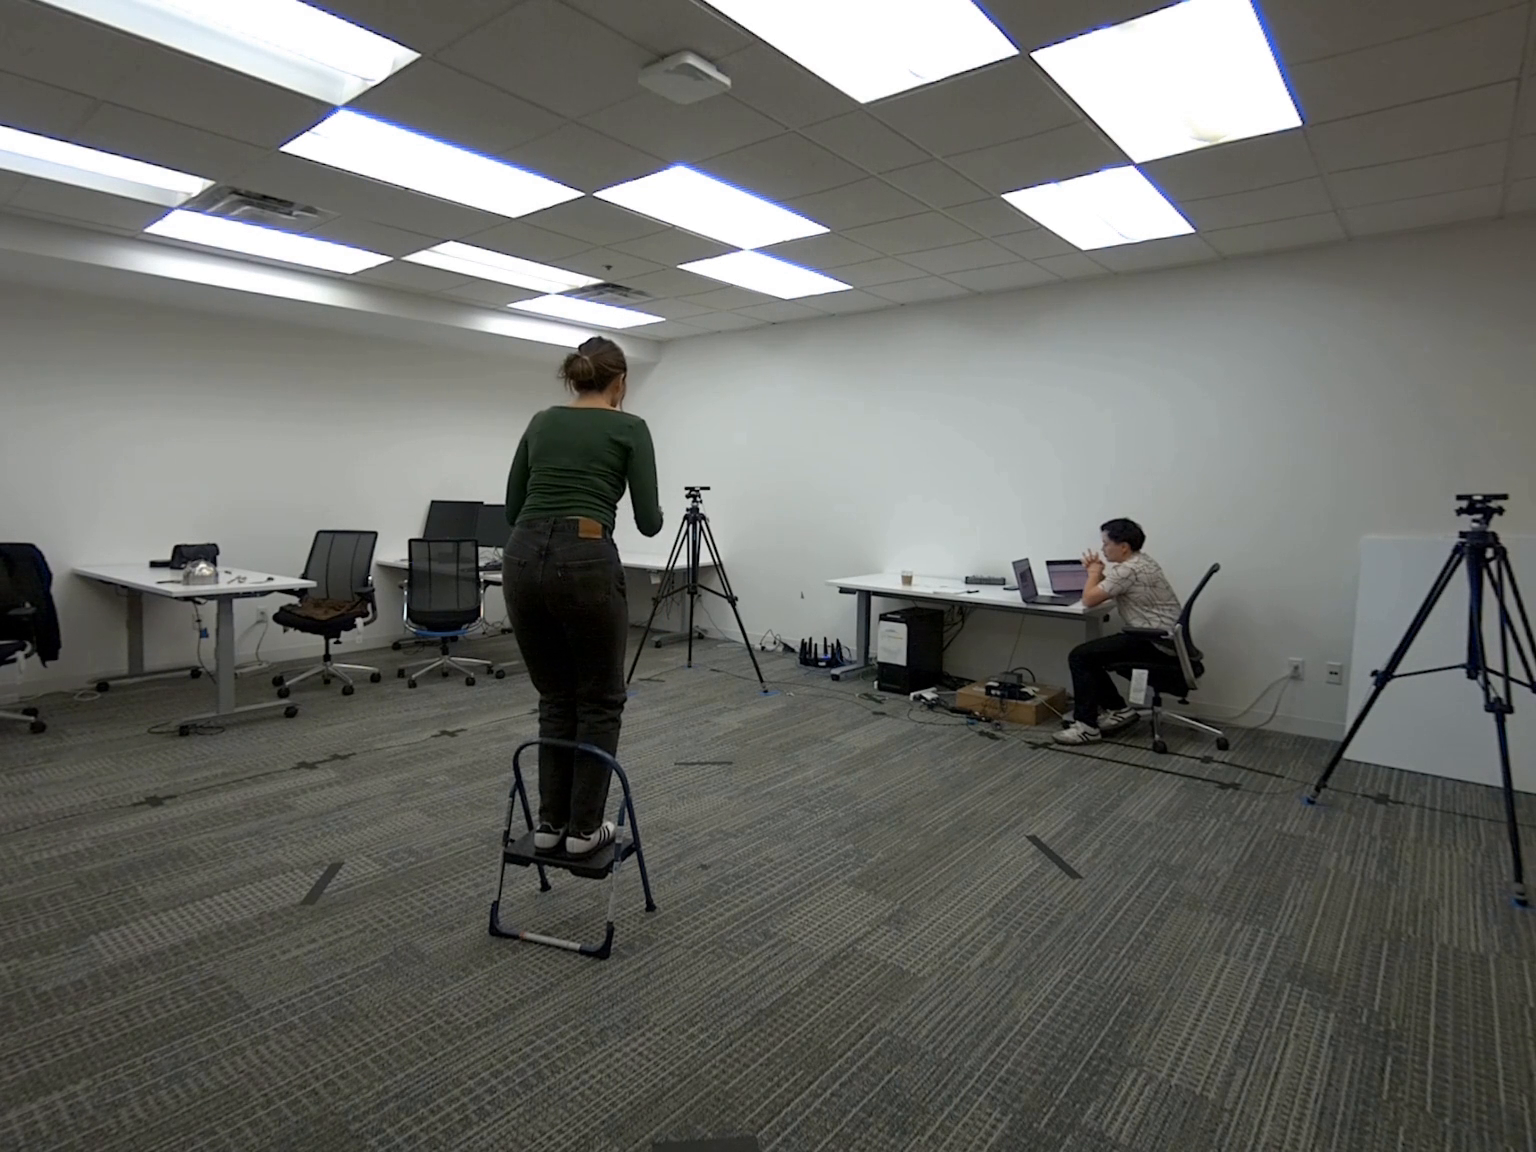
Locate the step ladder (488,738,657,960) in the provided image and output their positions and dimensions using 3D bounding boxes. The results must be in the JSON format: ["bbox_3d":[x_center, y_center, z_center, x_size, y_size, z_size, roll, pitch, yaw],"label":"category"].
[{"bbox_3d":[-0.630,0.802,2.701,0.439,0.604,0.343,2,3,18],"label":"step ladder"}]
